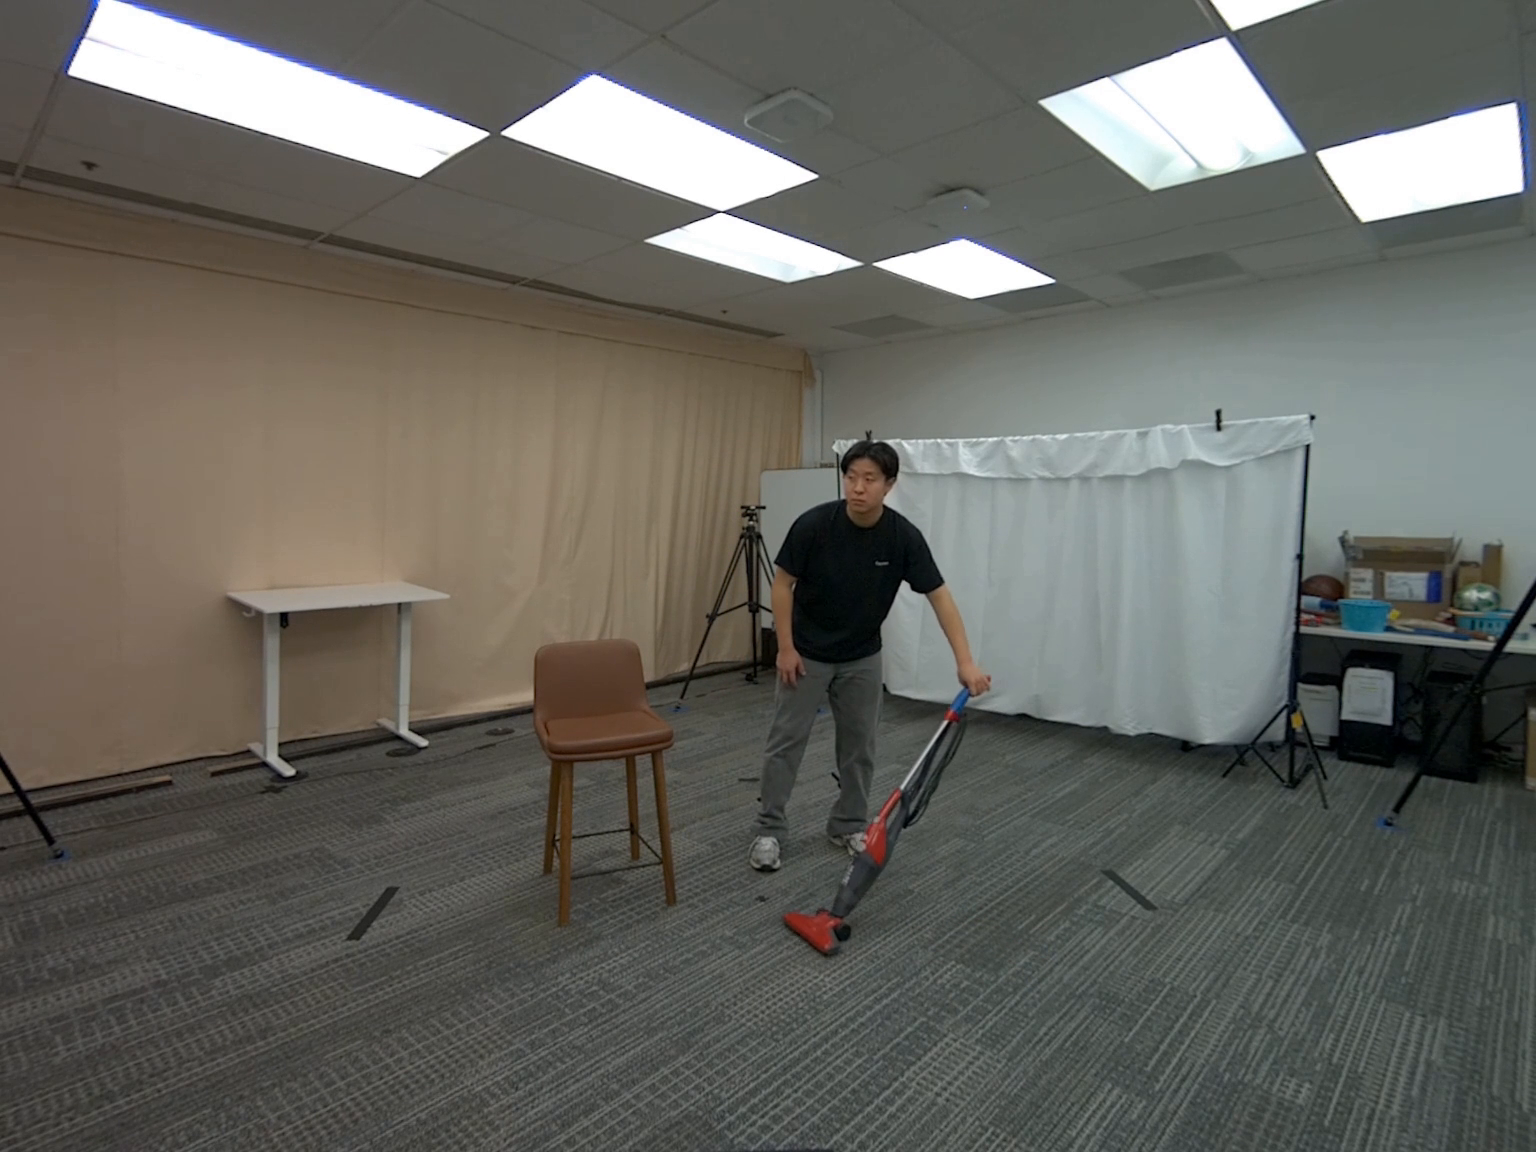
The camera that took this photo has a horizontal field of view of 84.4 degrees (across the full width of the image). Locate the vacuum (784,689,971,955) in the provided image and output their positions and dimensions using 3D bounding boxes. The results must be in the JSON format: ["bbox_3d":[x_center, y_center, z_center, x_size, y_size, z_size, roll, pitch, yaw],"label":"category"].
[{"bbox_3d":[0.485,0.765,2.886,0.140,1.045,0.261,49,-22,-28],"label":"vacuum"}]
